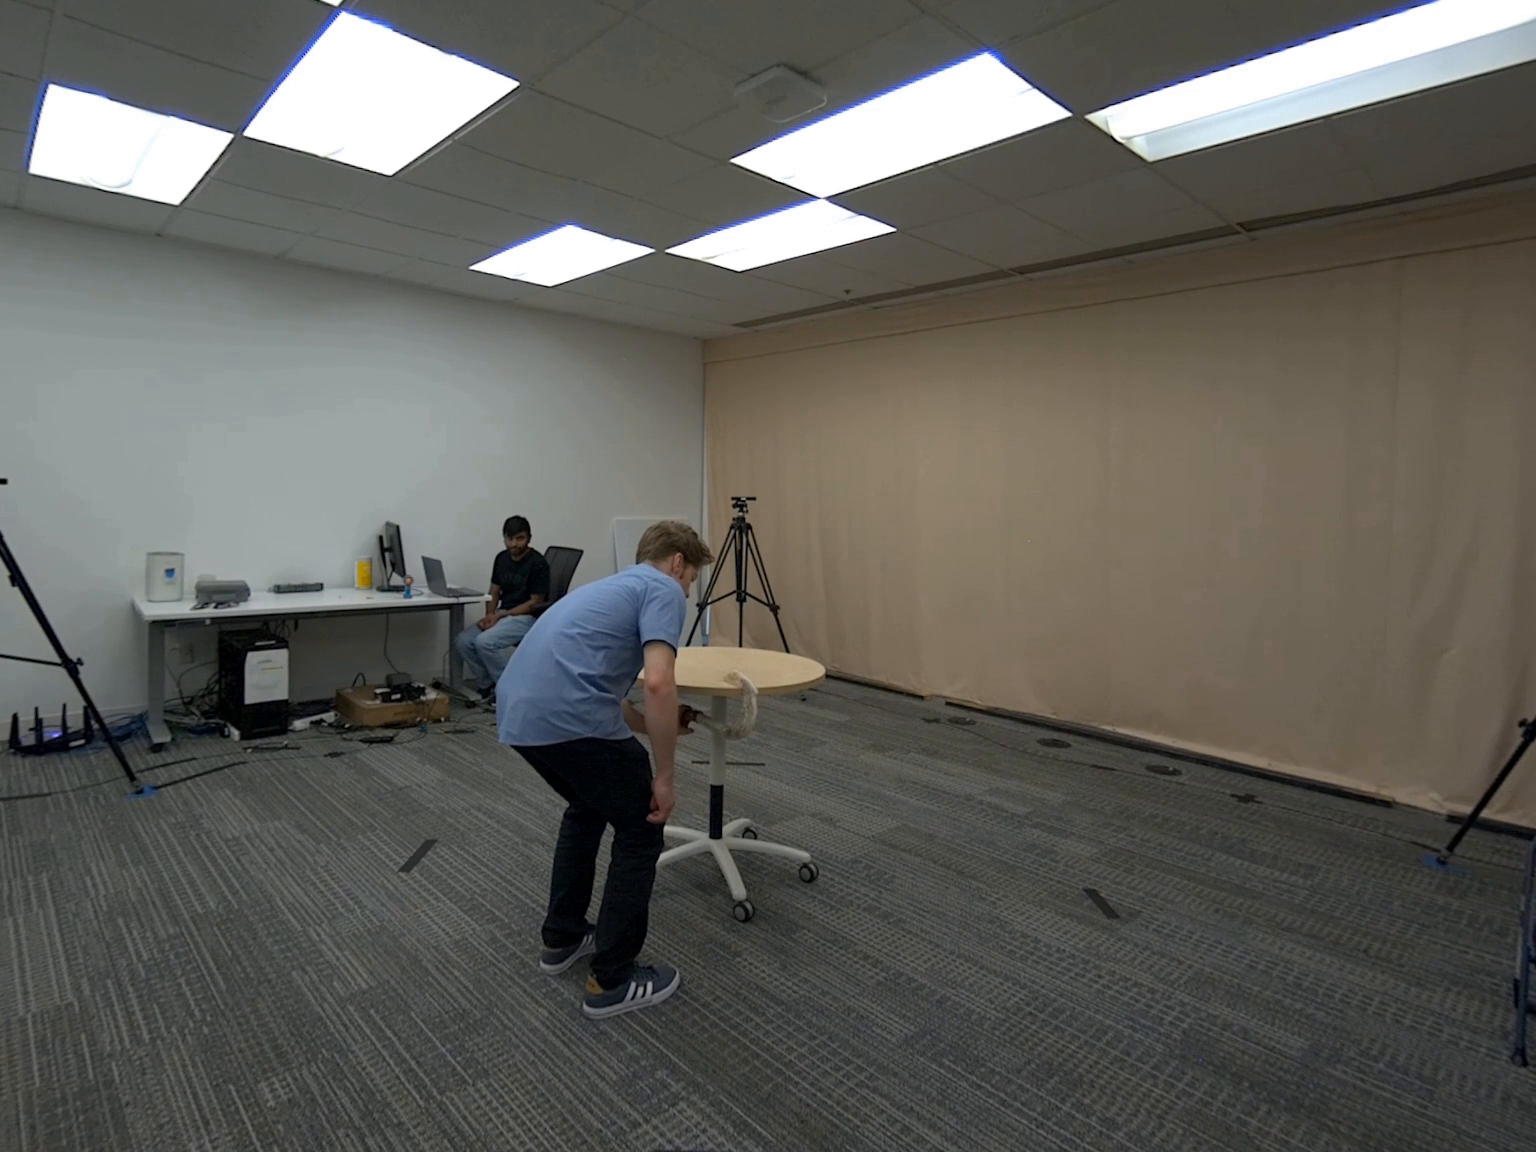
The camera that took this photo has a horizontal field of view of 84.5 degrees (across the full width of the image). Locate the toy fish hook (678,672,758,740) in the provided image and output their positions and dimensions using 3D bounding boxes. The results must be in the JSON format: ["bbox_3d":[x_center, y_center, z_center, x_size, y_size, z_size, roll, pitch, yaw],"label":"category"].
[{"bbox_3d":[-0.199,0.435,2.830,0.047,0.226,0.516,21,-17,-32],"label":"toy fish hook"}]
